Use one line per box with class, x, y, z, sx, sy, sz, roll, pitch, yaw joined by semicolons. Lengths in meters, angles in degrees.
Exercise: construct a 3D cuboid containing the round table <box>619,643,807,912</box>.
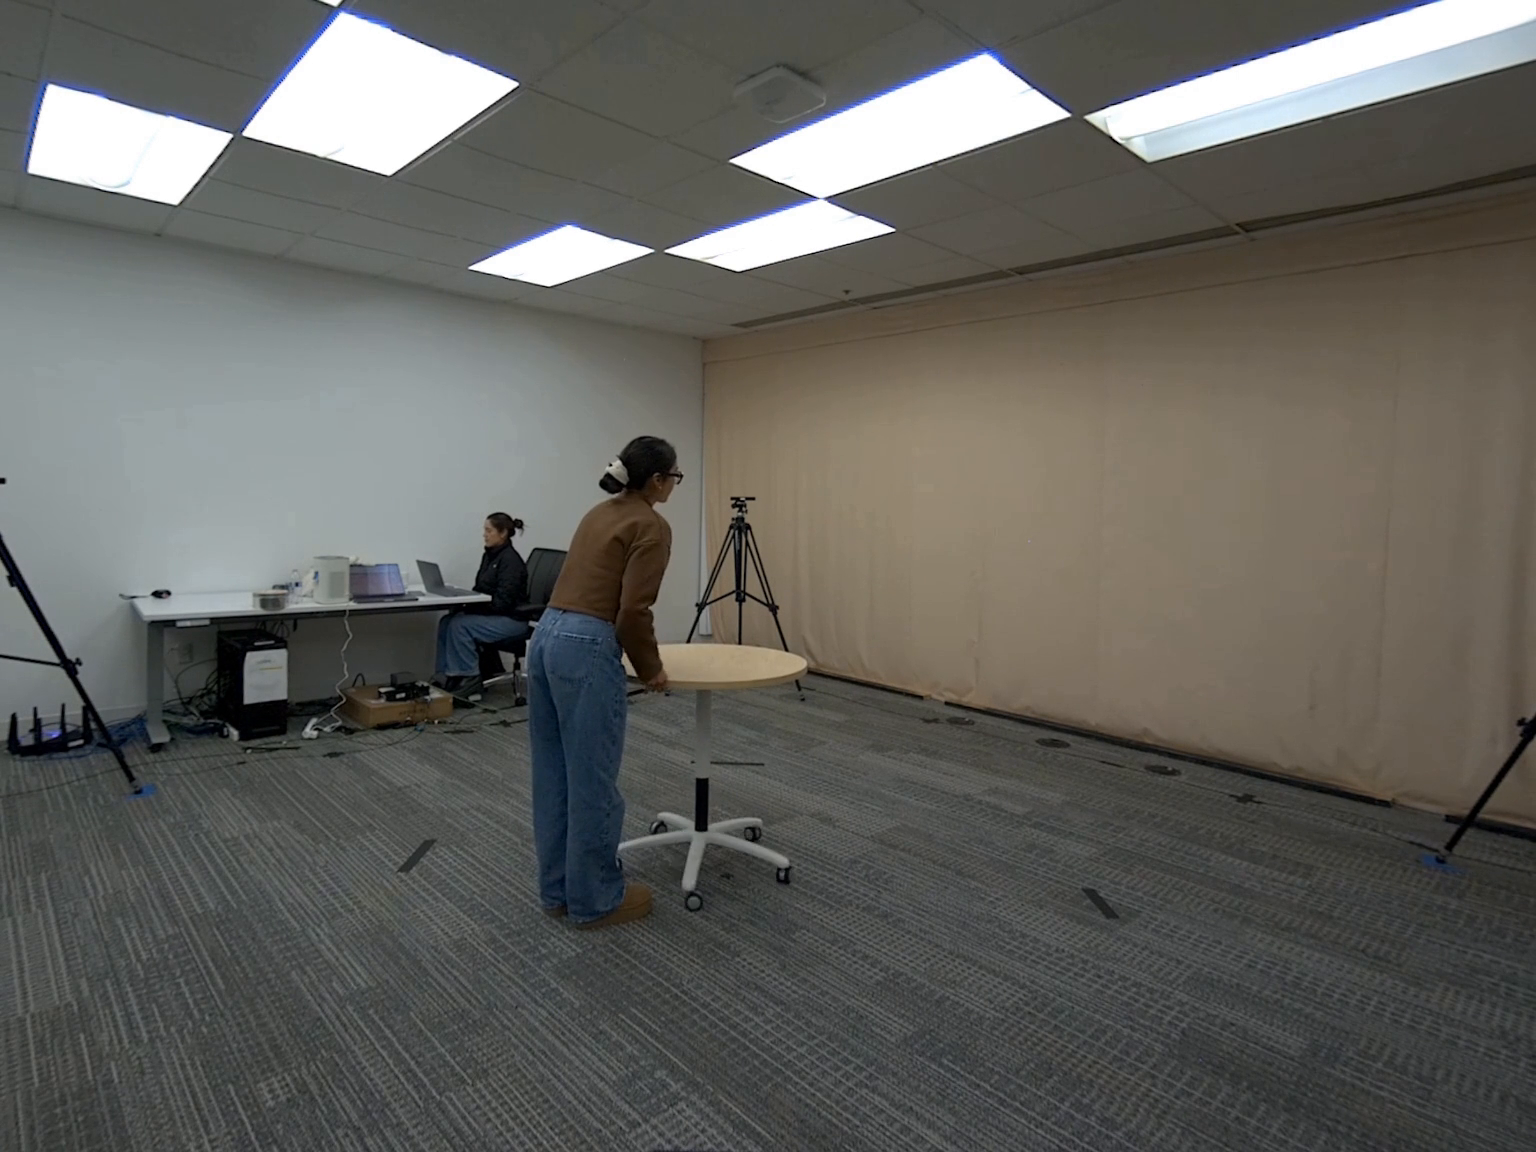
round table;-0.246;0.709;3.165;0.763;0.792;0.766;1;4;-1
